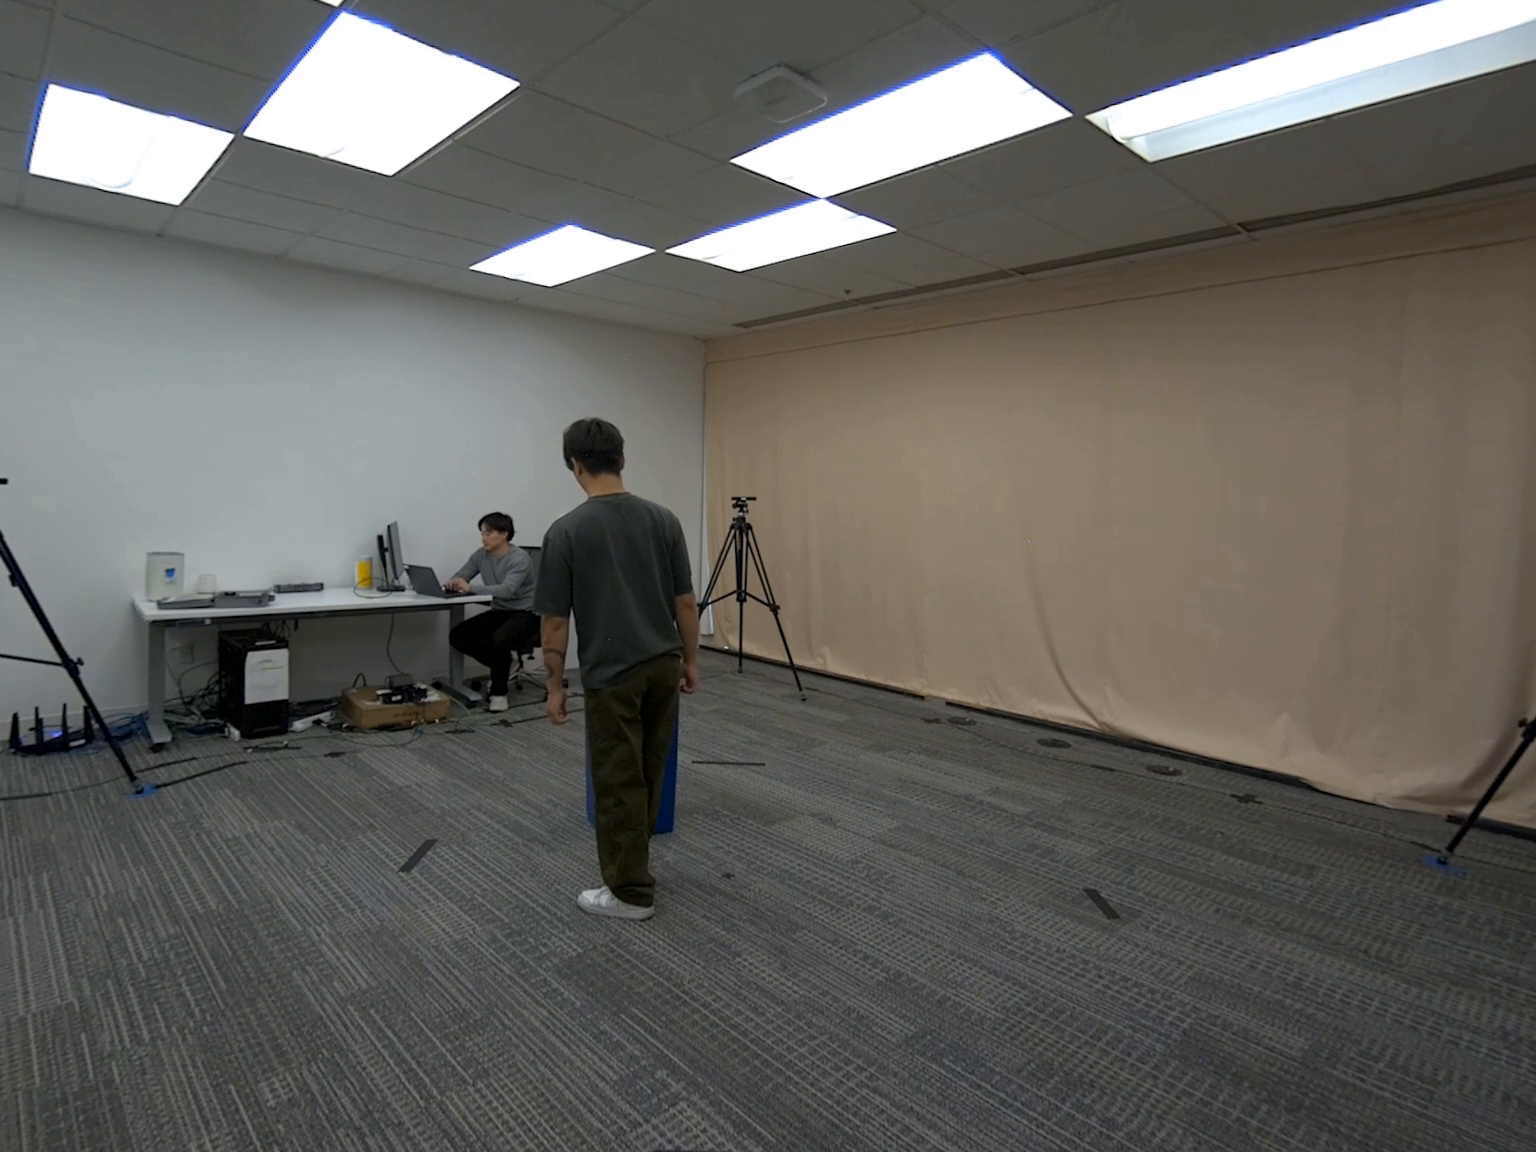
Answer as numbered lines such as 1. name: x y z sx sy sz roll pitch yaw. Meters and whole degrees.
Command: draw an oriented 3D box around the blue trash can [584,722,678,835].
1. blue trash can: -0.581 0.700 3.558 0.371 0.712 0.382 -1 3 -28
